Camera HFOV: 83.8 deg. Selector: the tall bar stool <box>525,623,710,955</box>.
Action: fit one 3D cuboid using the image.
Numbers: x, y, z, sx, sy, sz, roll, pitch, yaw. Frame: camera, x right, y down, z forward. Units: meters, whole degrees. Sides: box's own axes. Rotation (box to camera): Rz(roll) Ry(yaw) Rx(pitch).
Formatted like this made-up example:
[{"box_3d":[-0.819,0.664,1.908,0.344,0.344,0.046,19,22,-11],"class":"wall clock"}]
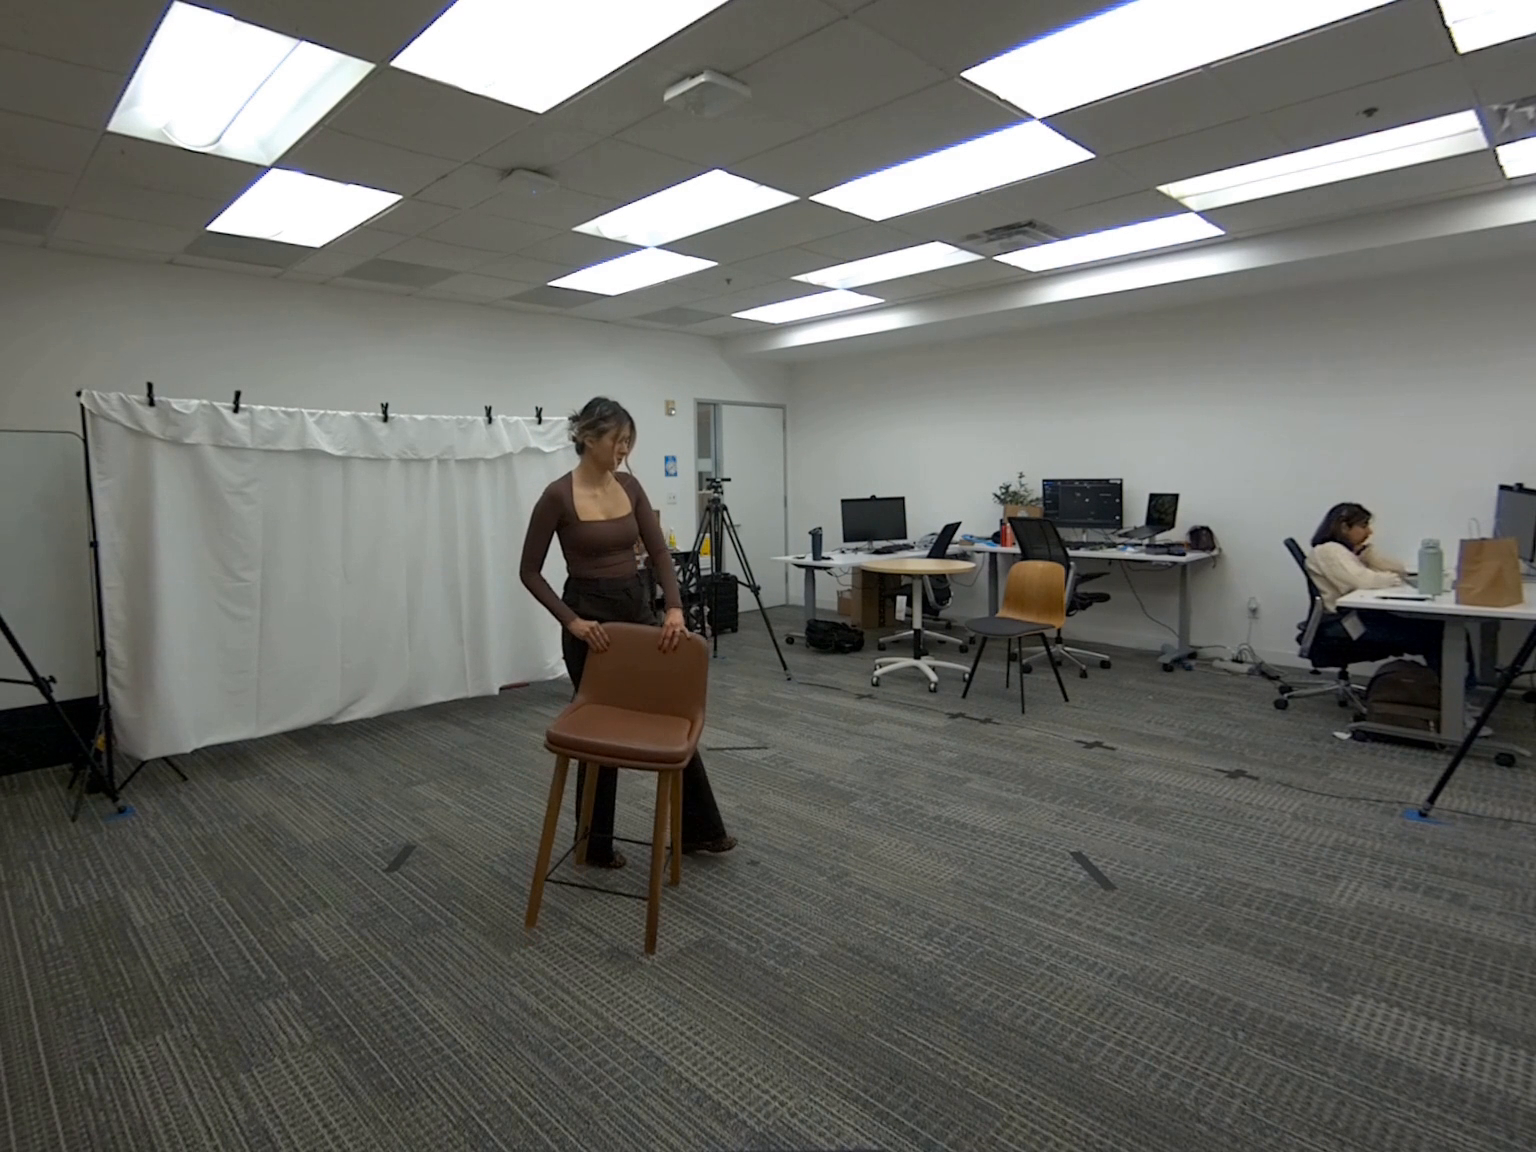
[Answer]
[{"box_3d":[-0.464,0.640,2.739,0.461,0.888,0.464,7,3,9],"class":"tall bar stool"}]
